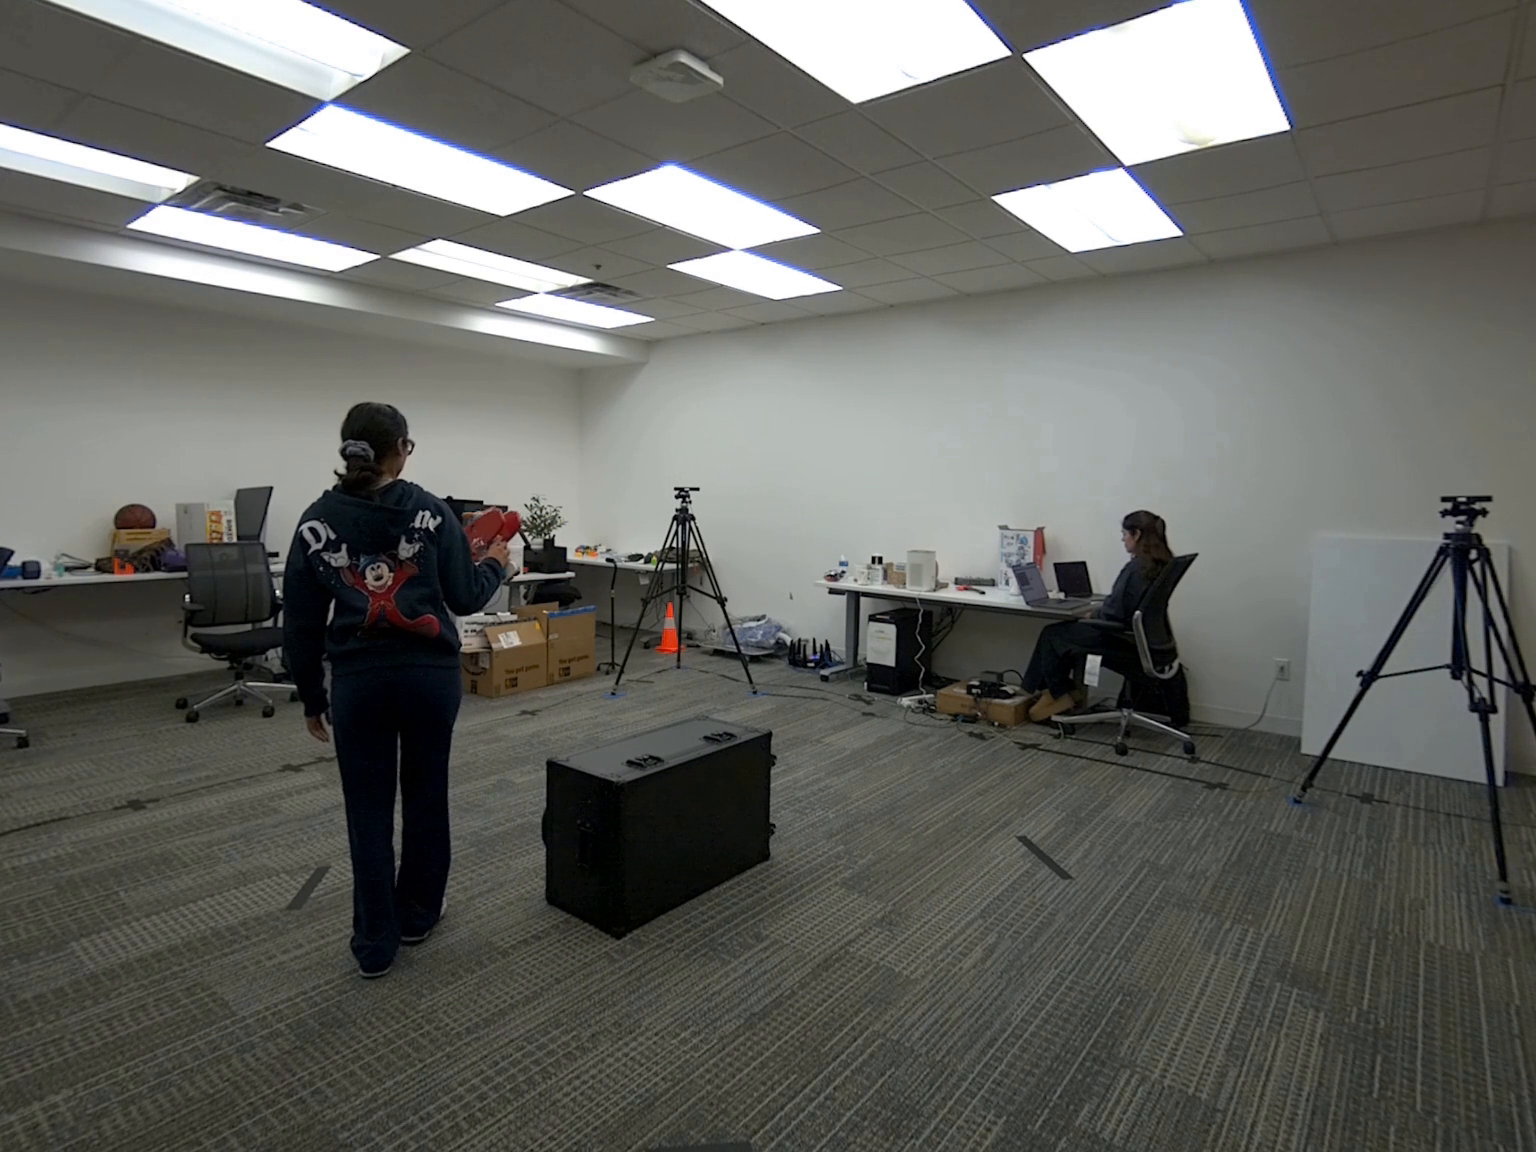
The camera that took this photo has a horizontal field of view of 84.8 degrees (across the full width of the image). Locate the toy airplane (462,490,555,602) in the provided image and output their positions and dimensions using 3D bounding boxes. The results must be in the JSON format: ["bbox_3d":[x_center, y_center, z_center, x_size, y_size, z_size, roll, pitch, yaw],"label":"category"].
[{"bbox_3d":[-0.908,-0.103,2.837,0.270,0.251,0.150,37,7,37],"label":"toy airplane"}]
